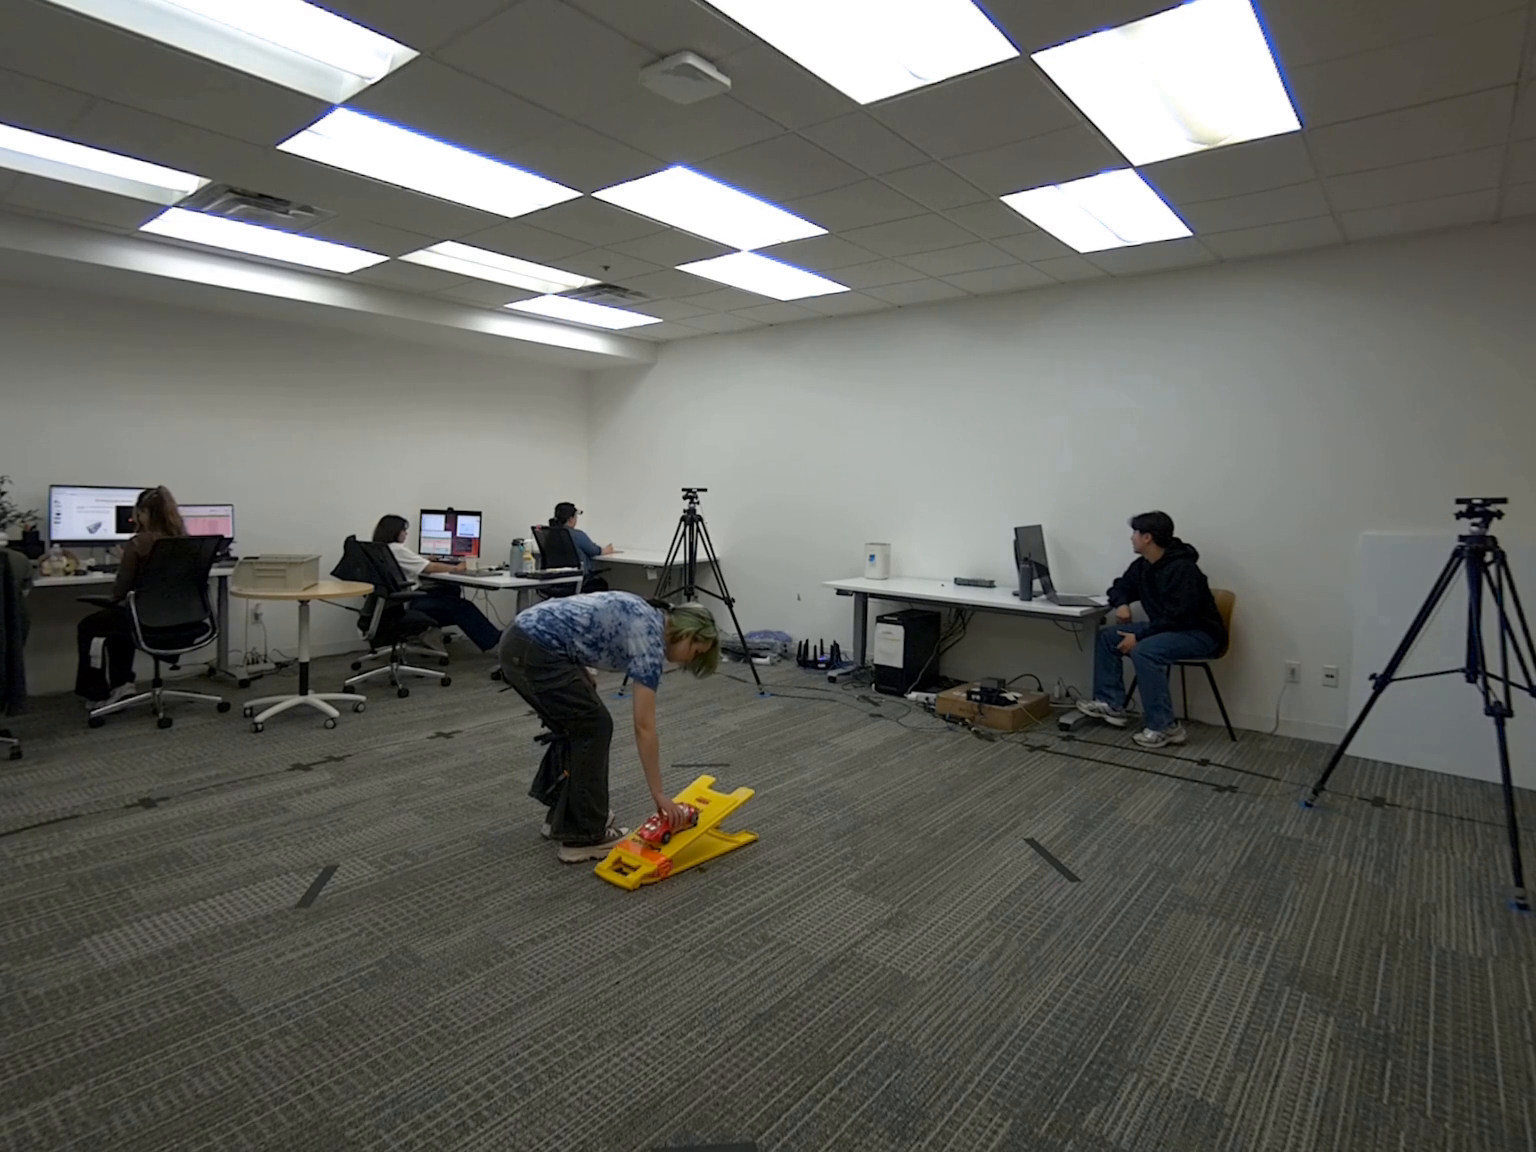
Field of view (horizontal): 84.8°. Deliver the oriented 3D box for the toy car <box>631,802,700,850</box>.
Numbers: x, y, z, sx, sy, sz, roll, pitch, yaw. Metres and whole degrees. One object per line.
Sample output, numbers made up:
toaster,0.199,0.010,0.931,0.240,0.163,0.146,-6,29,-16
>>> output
toy car,-0.394,0.926,3.160,0.135,0.082,0.248,9,13,43
